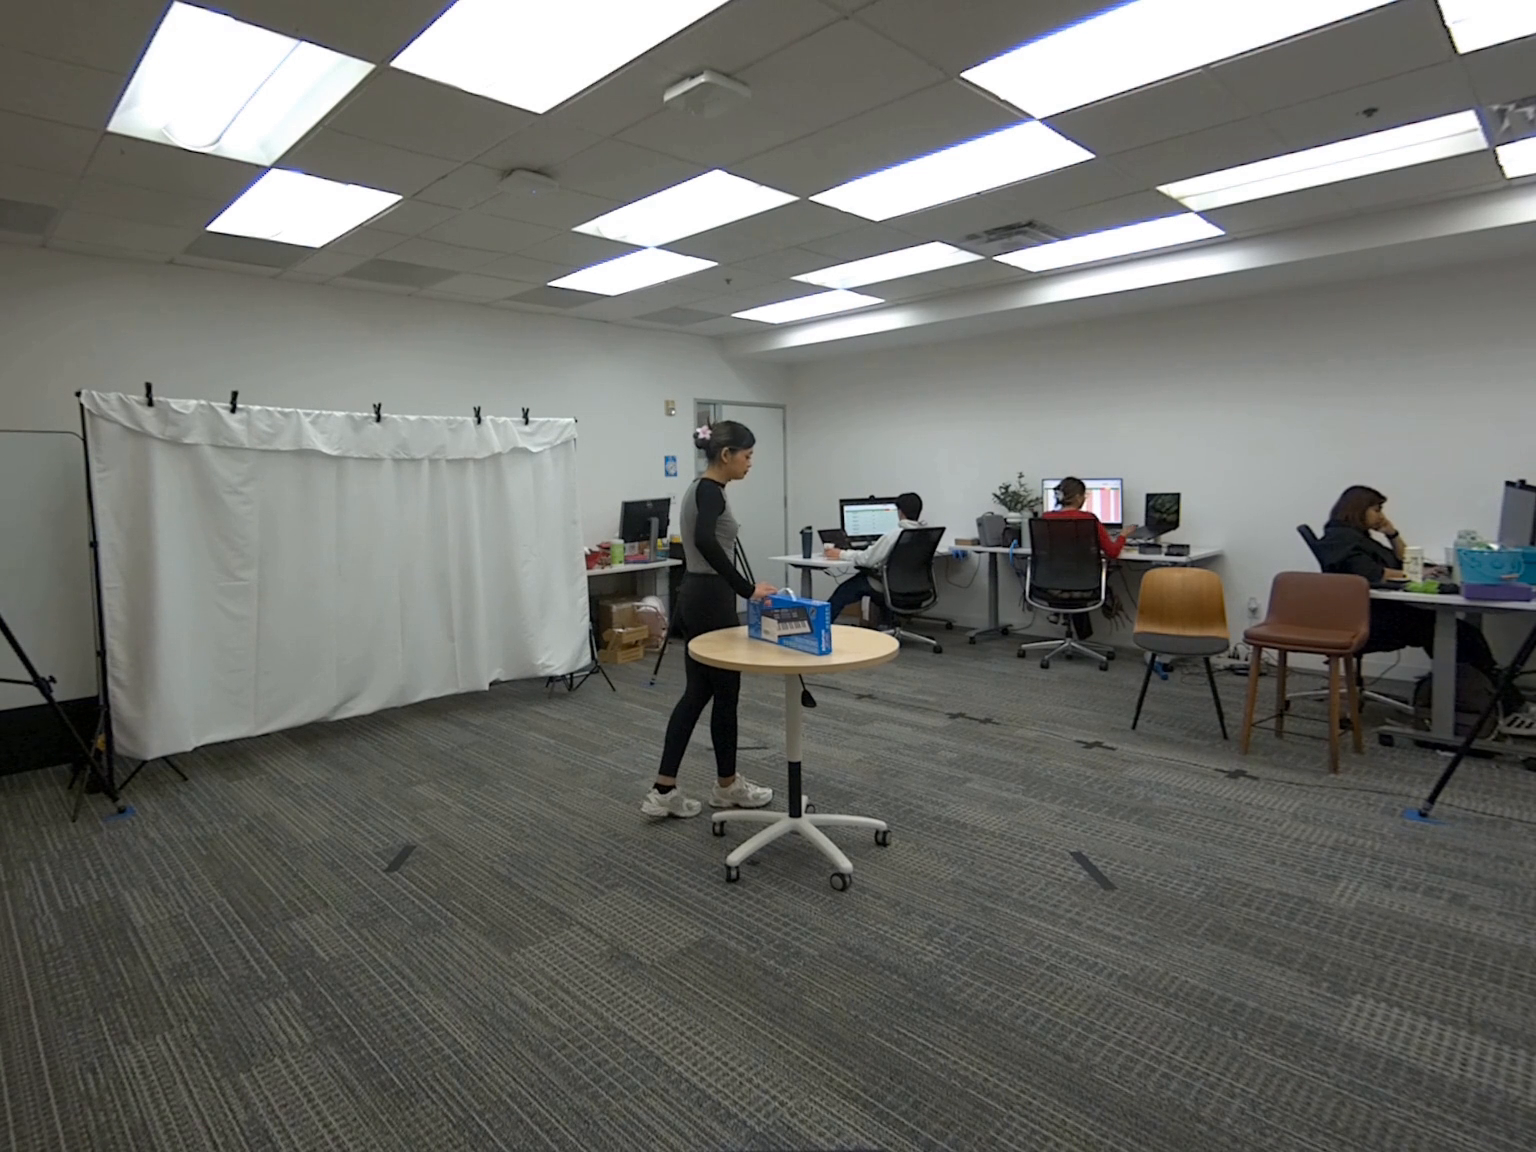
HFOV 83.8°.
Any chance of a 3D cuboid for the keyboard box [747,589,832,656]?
[{"bbox_3d":[0.071,0.165,3.078,0.058,0.175,0.449,-4,6,-33],"label":"keyboard box"}]
